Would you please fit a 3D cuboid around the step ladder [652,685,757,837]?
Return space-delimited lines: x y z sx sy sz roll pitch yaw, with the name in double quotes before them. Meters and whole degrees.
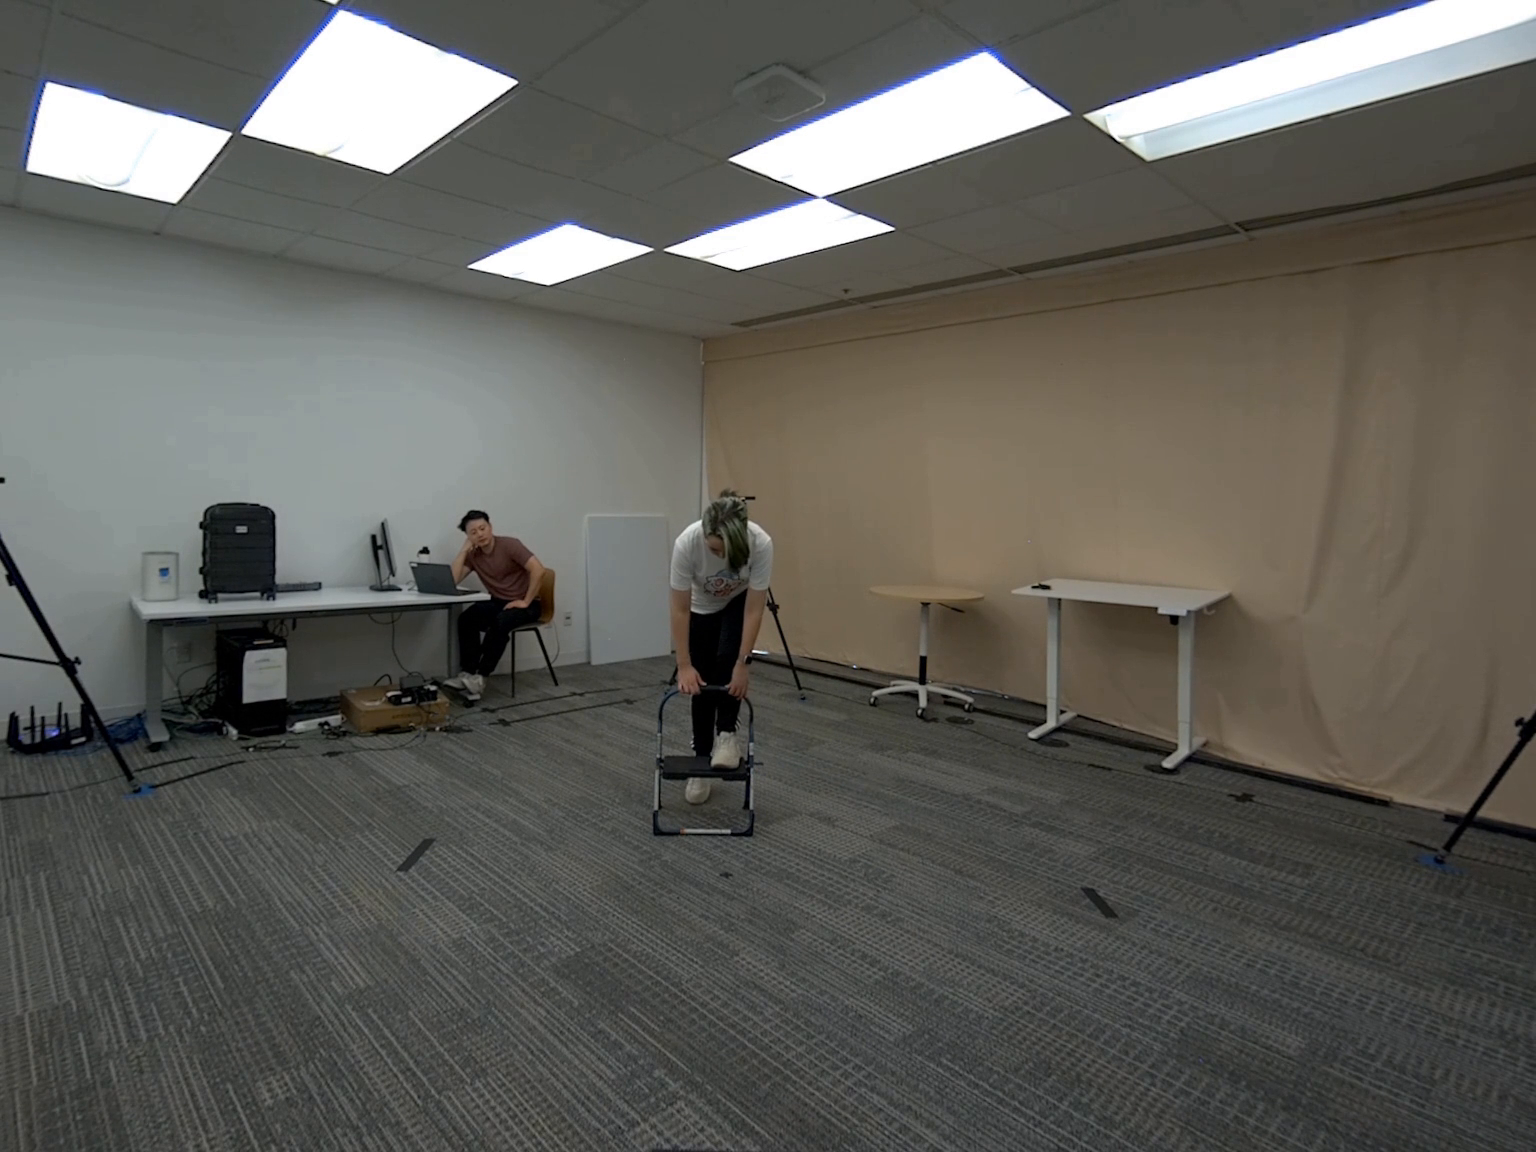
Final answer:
"step ladder" -0.284 0.760 3.617 0.429 0.605 0.351 1 3 -4
